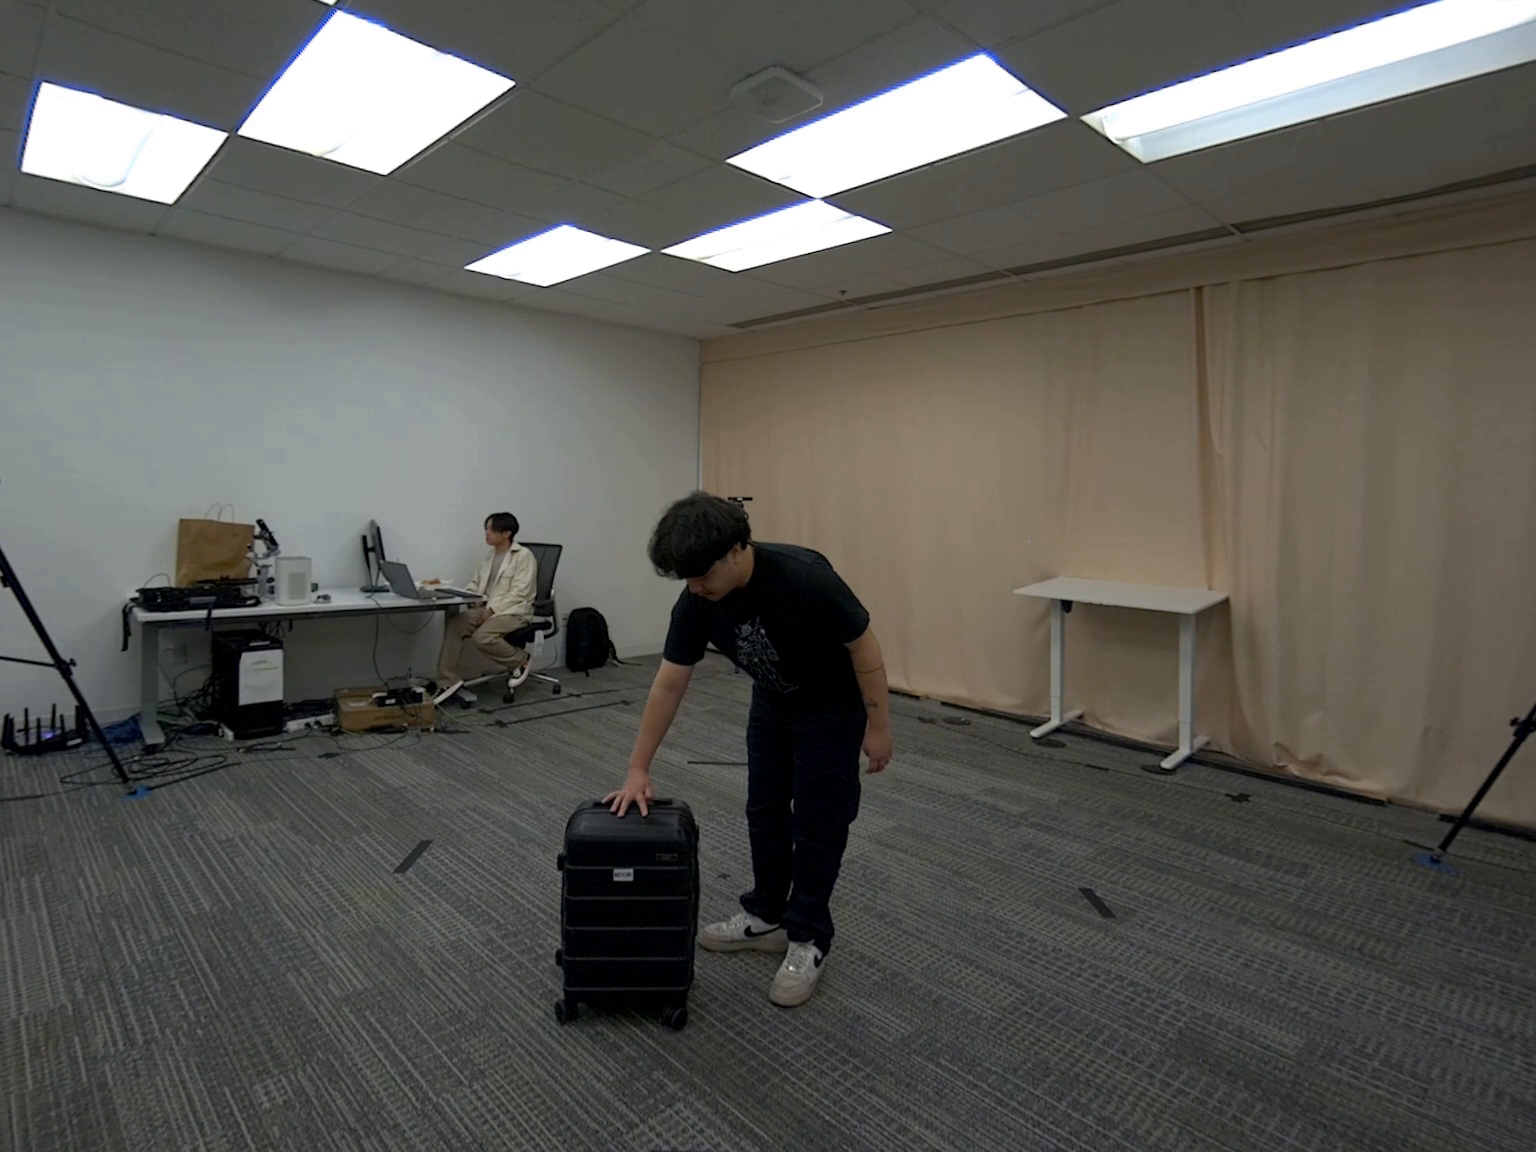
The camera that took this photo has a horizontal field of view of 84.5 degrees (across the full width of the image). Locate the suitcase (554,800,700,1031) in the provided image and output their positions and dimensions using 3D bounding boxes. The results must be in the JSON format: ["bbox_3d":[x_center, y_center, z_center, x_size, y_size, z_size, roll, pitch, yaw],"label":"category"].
[{"bbox_3d":[-0.385,0.900,2.302,0.374,0.548,0.249,1,3,-4],"label":"suitcase"}]
